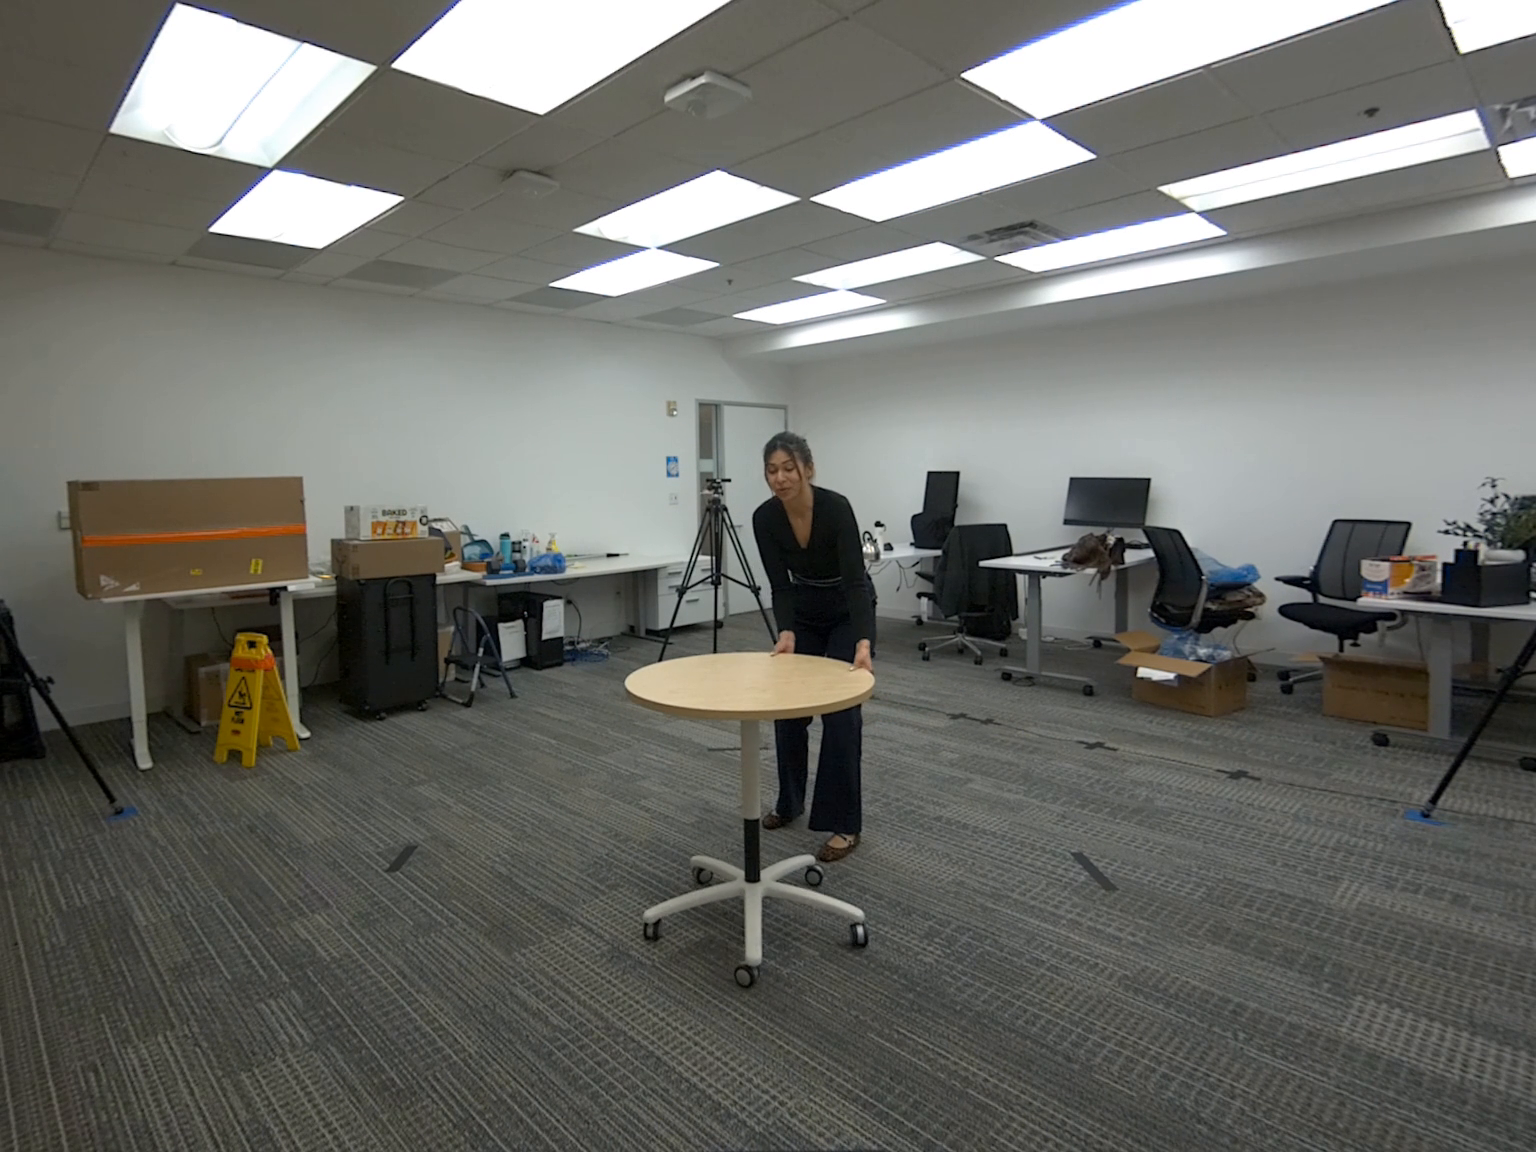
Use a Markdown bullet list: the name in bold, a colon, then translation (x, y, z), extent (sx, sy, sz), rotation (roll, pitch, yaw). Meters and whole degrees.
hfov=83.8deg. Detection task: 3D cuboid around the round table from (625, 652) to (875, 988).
- **round table**: translation (-0.046, 0.705, 2.673), extent (0.763, 0.791, 0.768), rotation (-1, 5, -2)
